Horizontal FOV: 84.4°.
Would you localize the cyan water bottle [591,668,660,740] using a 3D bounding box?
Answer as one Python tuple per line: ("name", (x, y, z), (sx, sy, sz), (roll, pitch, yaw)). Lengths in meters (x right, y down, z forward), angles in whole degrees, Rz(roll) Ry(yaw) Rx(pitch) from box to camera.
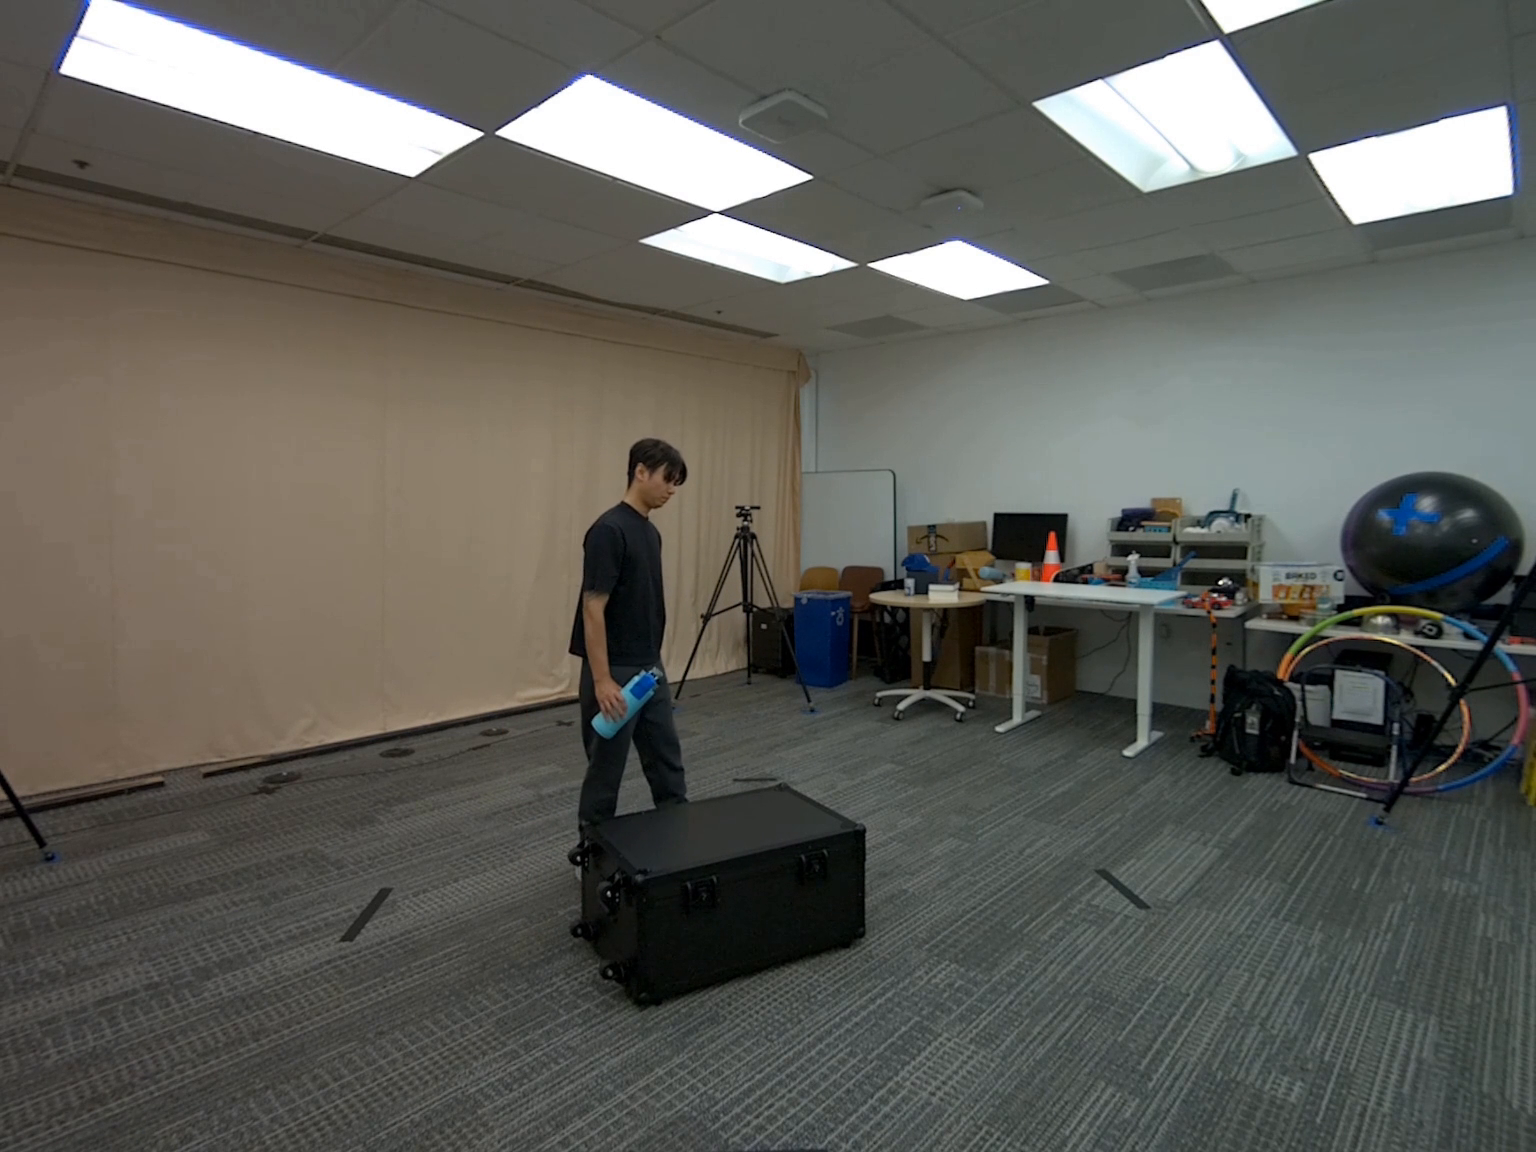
("cyan water bottle", (-0.479, 0.428, 2.883), (0.091, 0.284, 0.093), (44, 6, -8))
